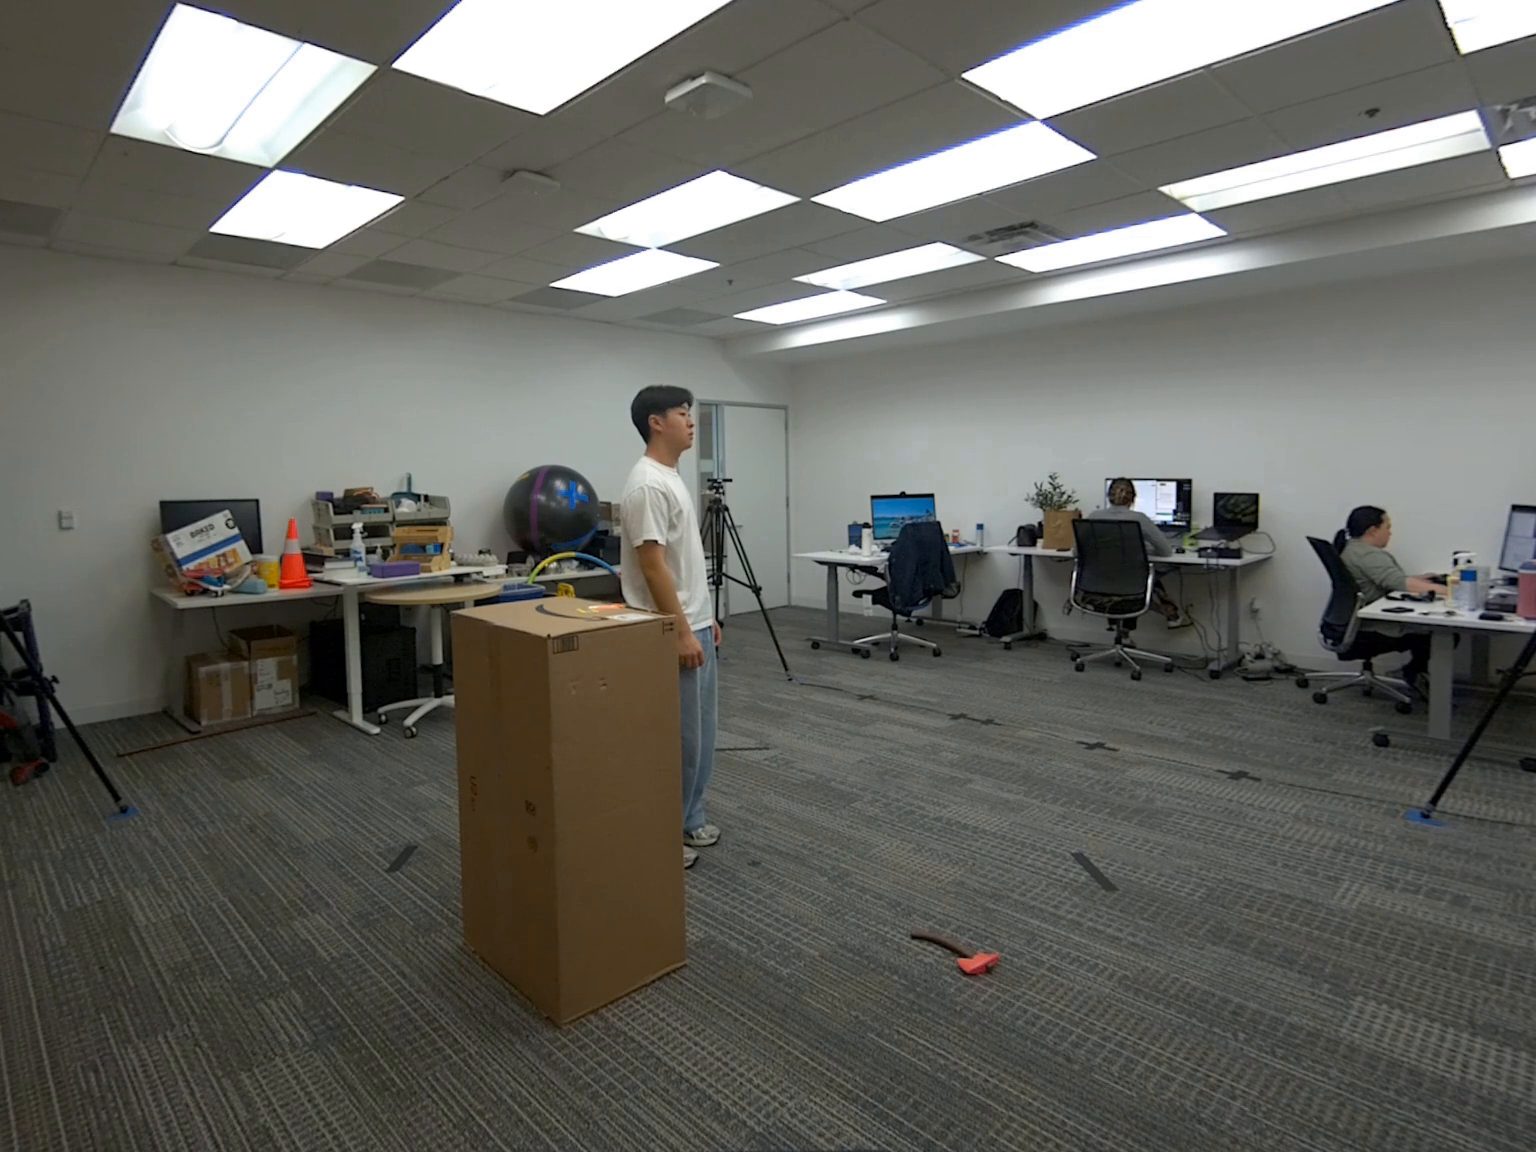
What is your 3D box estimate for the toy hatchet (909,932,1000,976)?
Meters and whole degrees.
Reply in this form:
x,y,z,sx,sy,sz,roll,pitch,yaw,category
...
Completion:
x,y,z,sx,sy,sz,roll,pitch,yaw,category
0.525,1.088,2.481,0.278,0.029,0.128,1,8,38,toy hatchet
